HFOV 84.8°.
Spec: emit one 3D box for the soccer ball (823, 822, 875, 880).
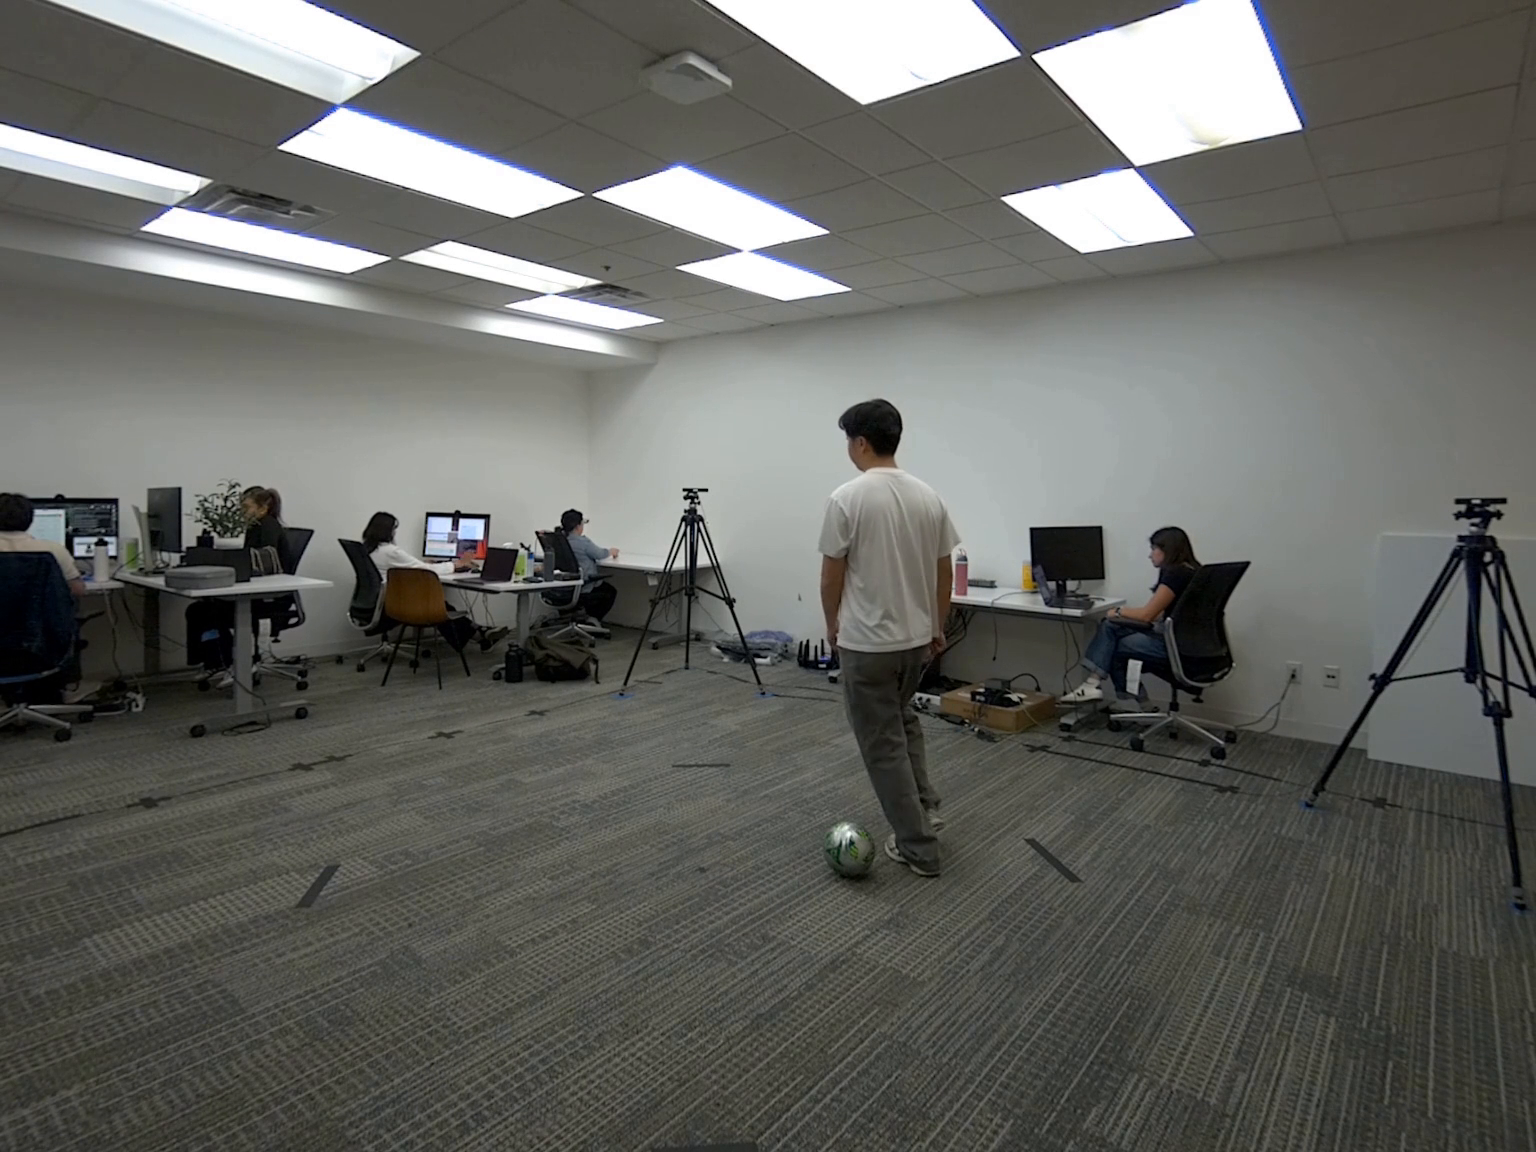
[{"bbox_3d":[0.292,0.985,3.101,0.187,0.187,0.188,1,4,-2],"label":"soccer ball"}]
